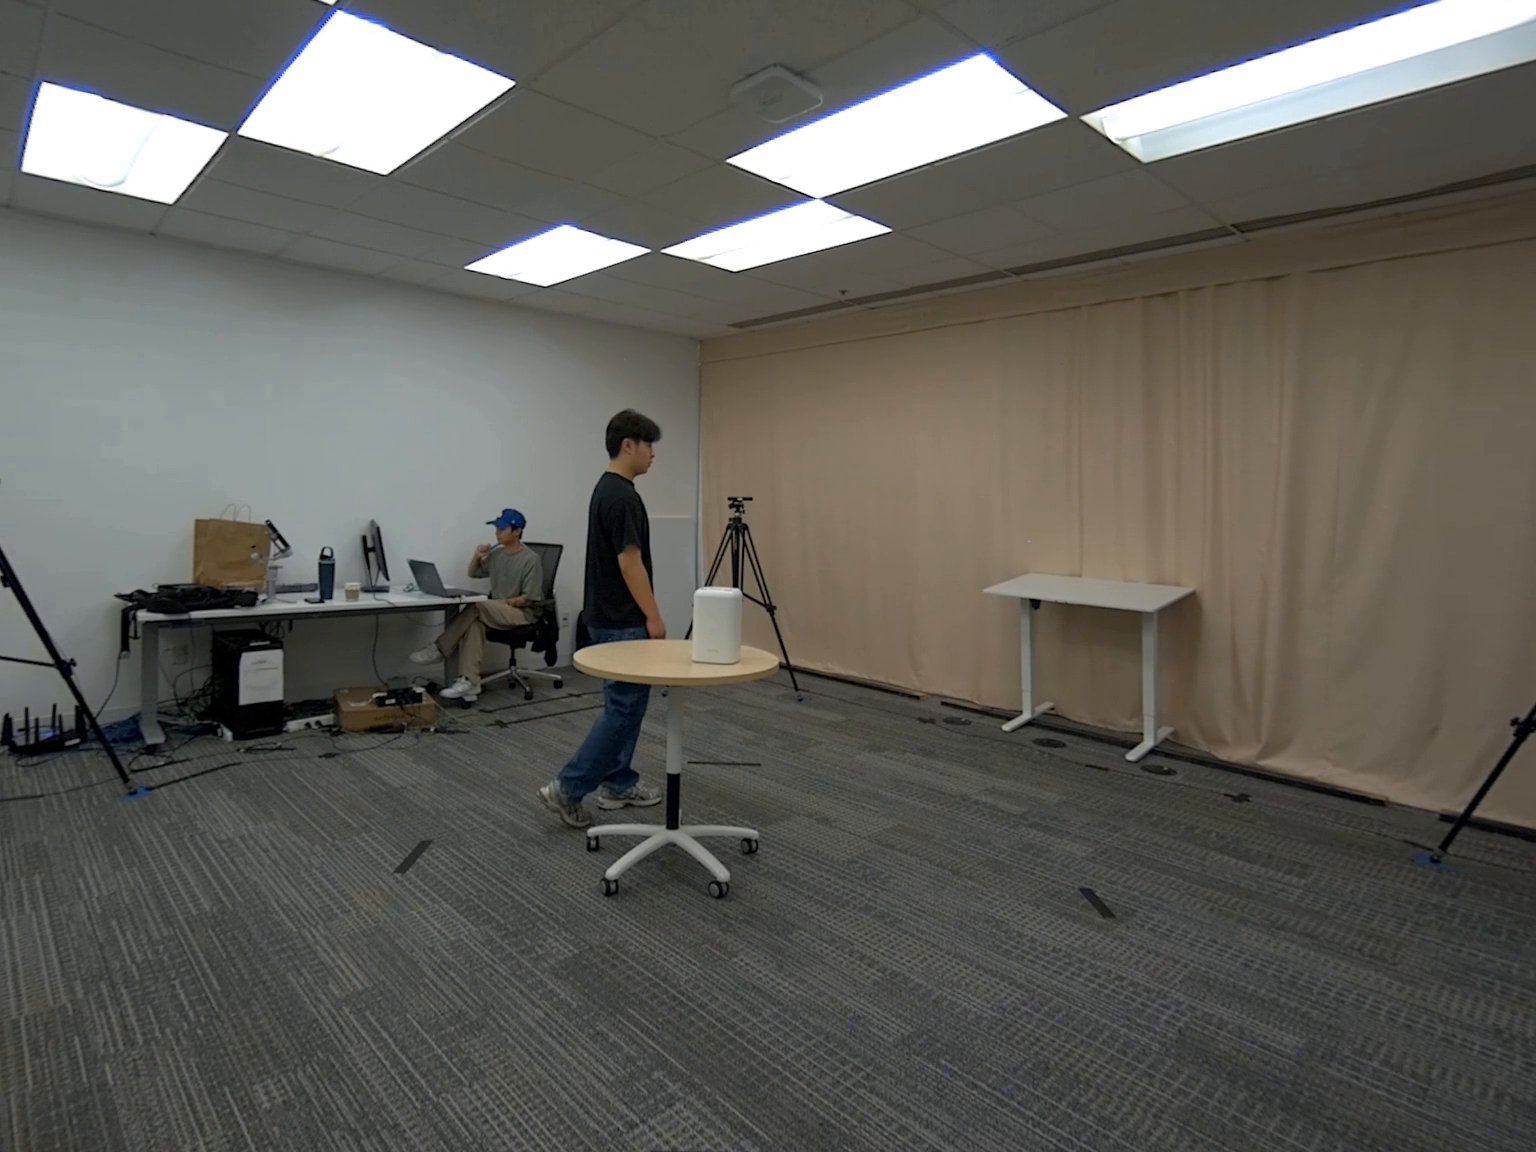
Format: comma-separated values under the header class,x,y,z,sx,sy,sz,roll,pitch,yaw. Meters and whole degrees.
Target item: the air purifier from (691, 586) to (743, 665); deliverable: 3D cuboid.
class,x,y,z,sx,sy,sz,roll,pitch,yaw
air purifier,-0.197,0.181,3.102,0.172,0.264,0.171,2,5,7
